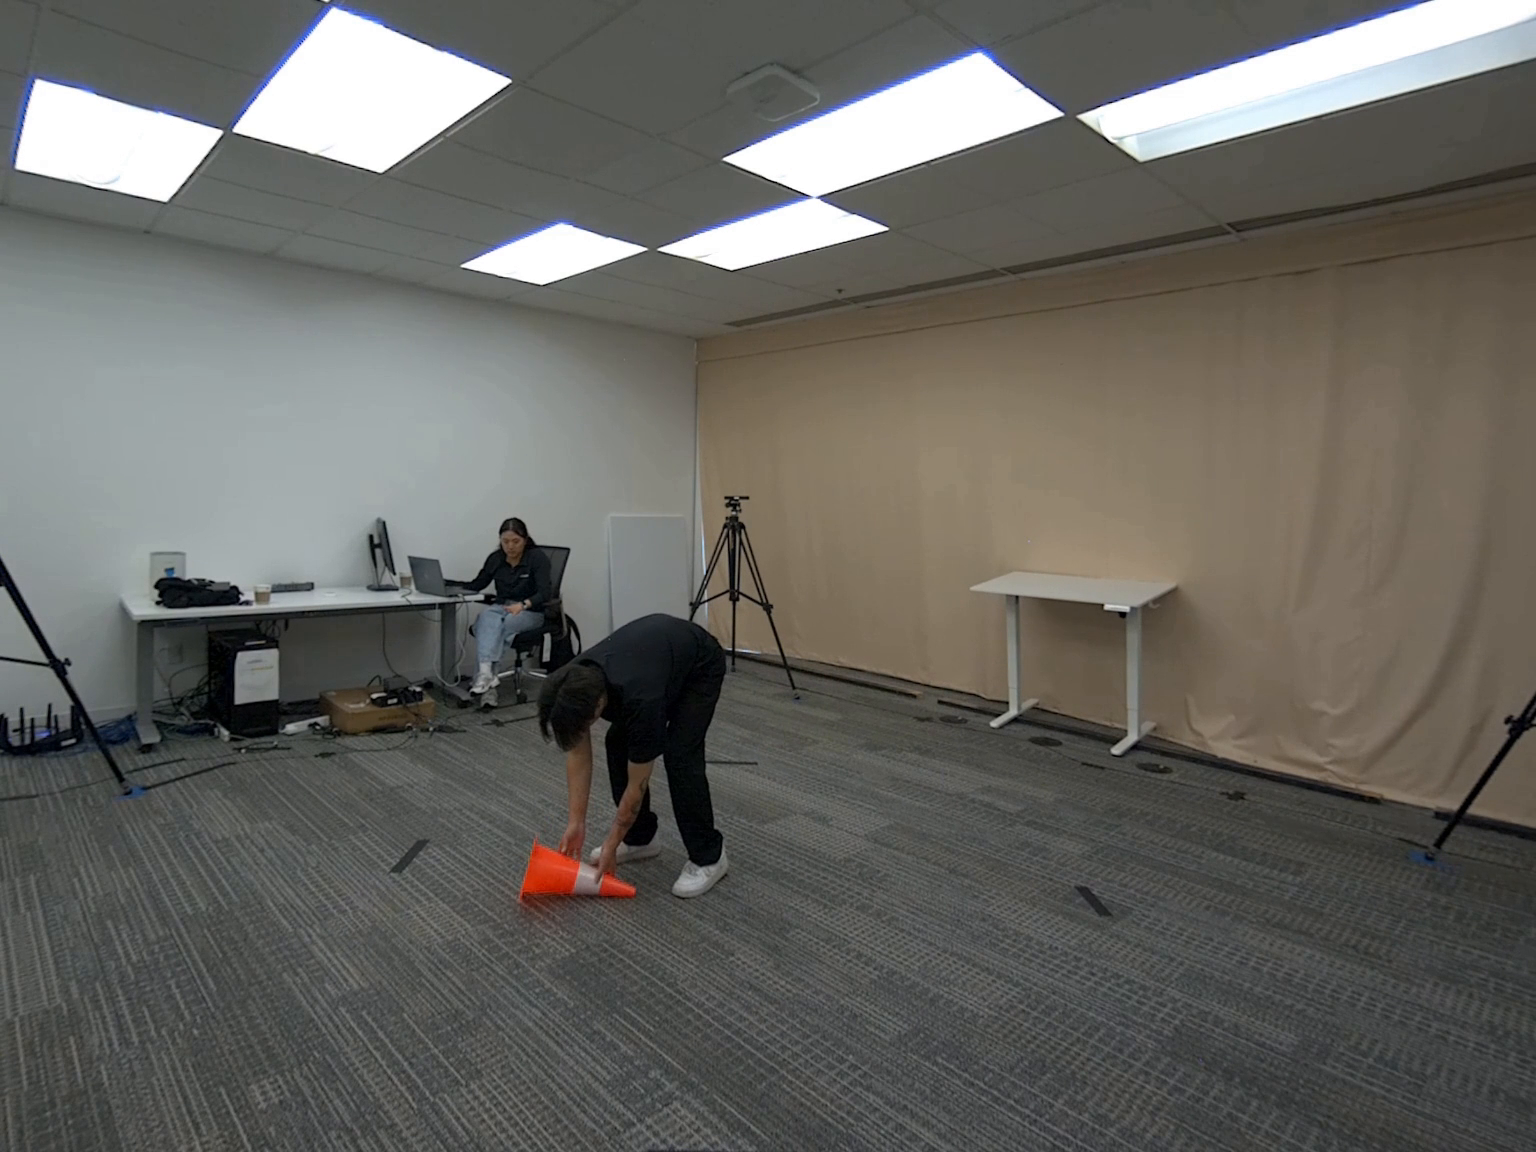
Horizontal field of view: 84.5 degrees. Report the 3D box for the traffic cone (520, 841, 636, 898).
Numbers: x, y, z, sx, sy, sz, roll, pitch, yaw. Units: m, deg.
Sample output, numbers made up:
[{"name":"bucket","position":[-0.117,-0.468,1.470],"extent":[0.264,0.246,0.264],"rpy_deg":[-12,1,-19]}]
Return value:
[{"name":"traffic cone","position":[-0.651,1.052,2.904],"extent":[0.380,0.206,0.204],"rpy_deg":[17,-9,-10]}]
